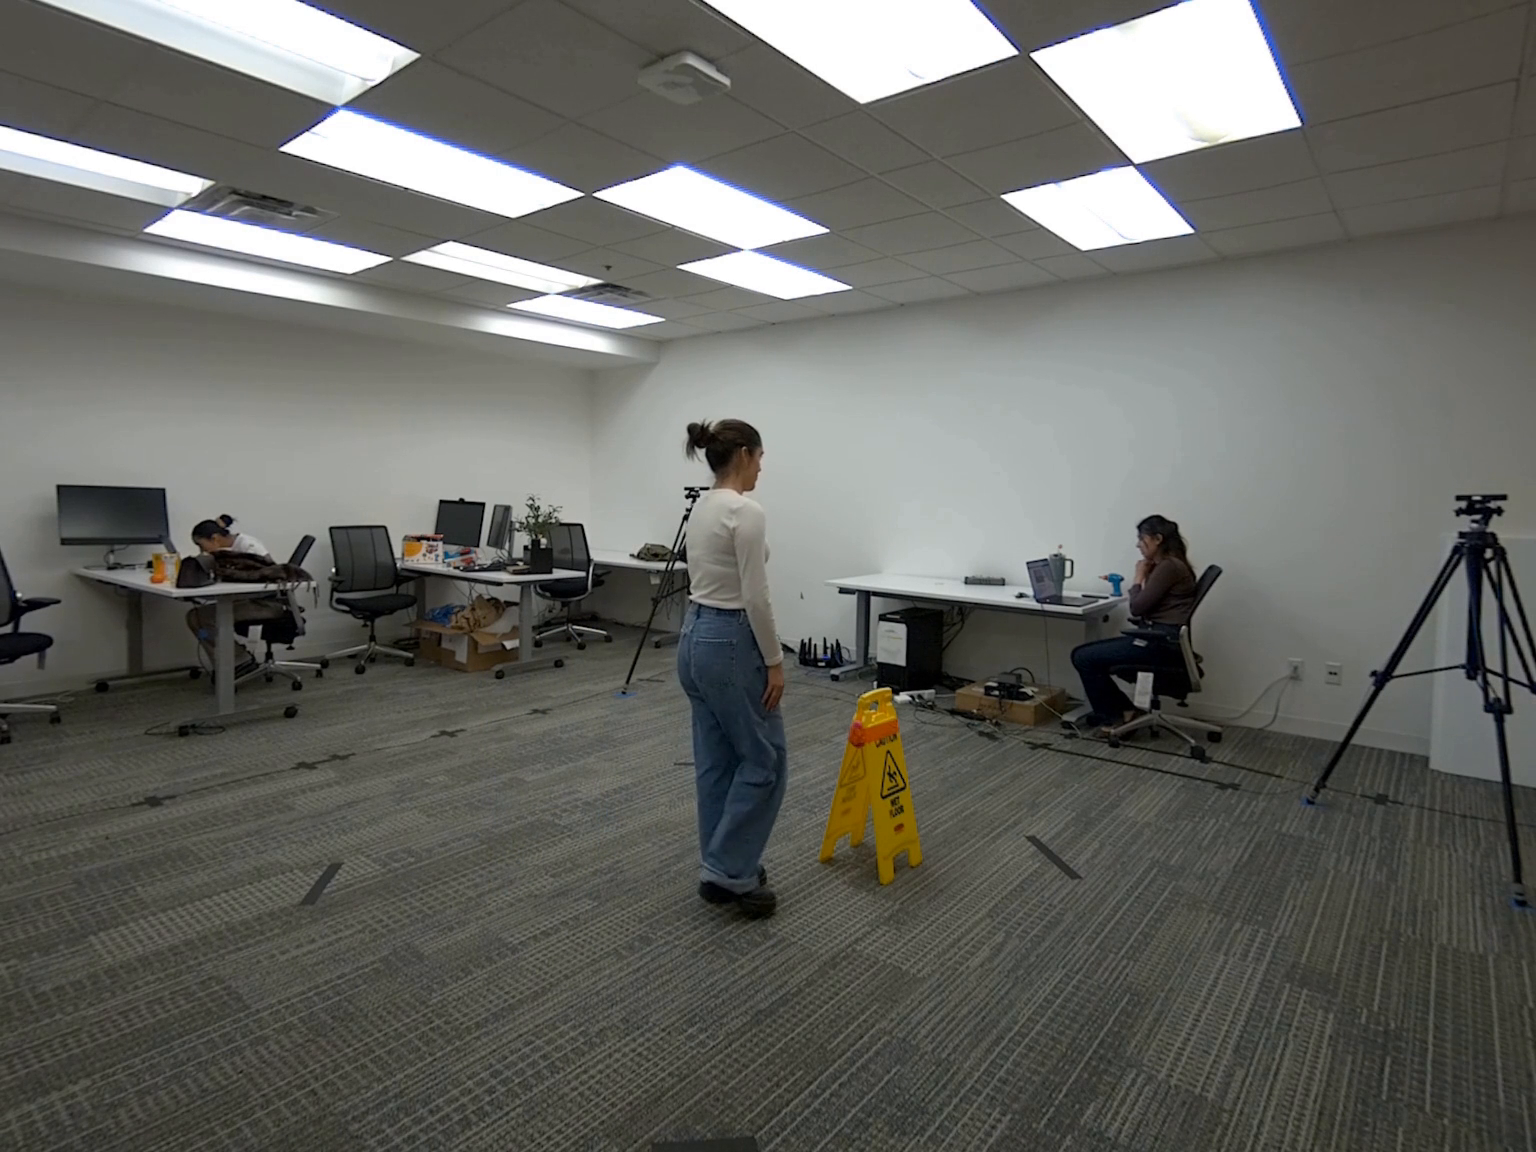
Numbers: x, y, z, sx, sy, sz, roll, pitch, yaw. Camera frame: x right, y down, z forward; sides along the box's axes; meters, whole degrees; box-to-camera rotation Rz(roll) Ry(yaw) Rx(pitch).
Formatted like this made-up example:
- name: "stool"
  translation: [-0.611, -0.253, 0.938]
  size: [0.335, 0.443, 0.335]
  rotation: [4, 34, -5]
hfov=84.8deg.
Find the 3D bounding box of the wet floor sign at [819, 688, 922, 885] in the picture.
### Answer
- name: "wet floor sign"
  translation: [0.384, 0.745, 3.179]
  size: [0.299, 0.645, 0.273]
  rotation: [3, 3, 40]
